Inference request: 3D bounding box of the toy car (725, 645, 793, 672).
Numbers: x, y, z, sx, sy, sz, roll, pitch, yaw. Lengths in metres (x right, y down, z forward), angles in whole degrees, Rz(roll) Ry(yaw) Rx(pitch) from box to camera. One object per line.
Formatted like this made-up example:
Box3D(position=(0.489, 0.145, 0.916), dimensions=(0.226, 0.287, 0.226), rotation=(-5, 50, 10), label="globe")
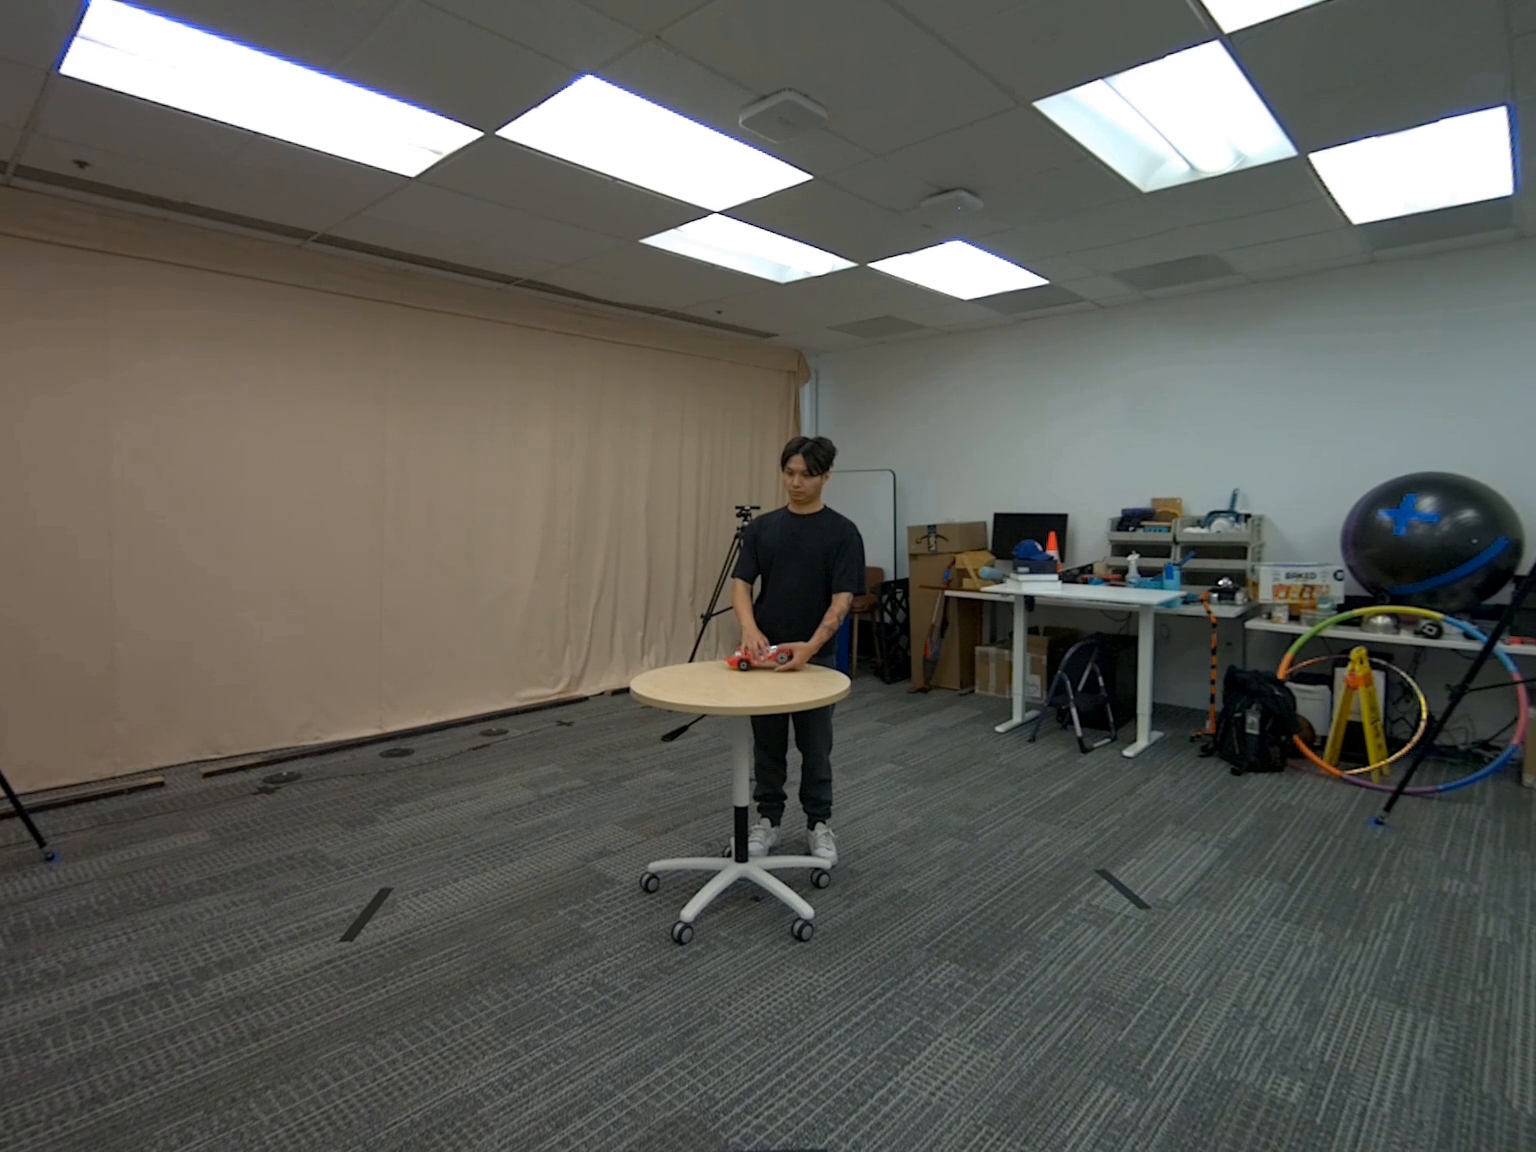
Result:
Box3D(position=(-0.038, 0.305, 3.131), dimensions=(0.258, 0.083, 0.128), rotation=(0, 1, 12), label="toy car")
